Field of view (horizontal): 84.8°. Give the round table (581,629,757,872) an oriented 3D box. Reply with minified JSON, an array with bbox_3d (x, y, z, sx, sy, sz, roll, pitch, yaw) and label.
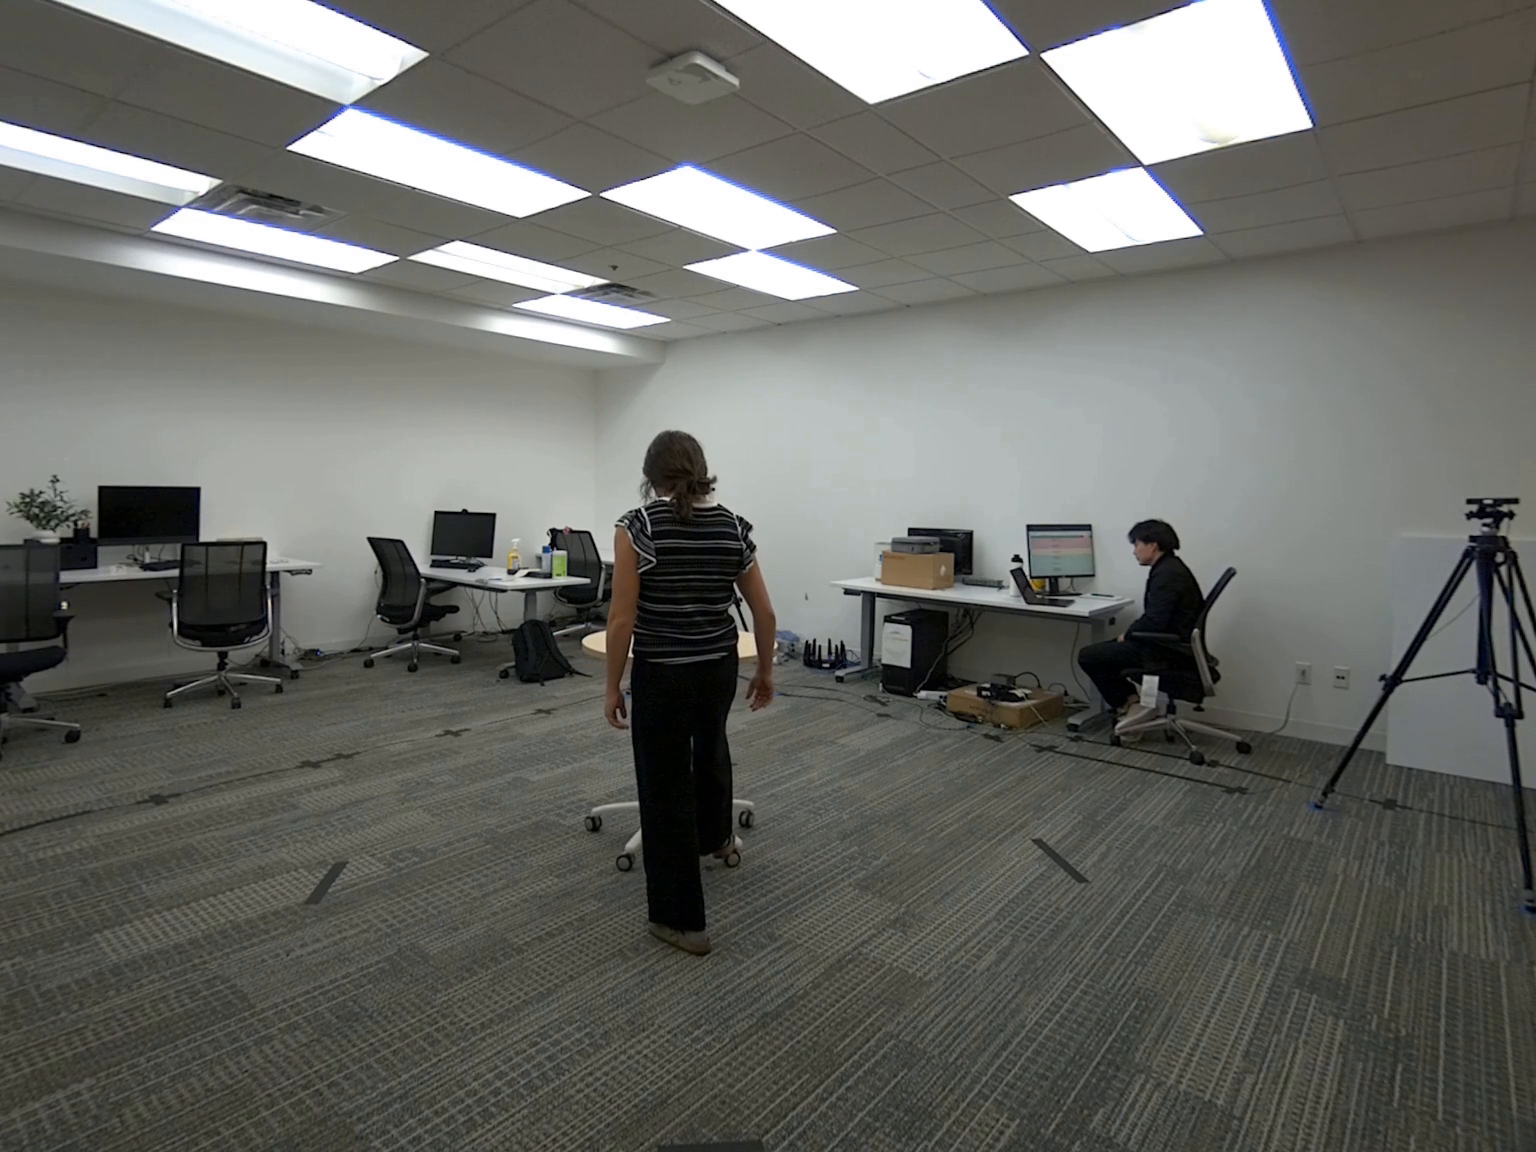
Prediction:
[{"bbox_3d":[-0.381,0.640,3.353,0.784,0.784,0.788,1,3,-2],"label":"round table"}]
